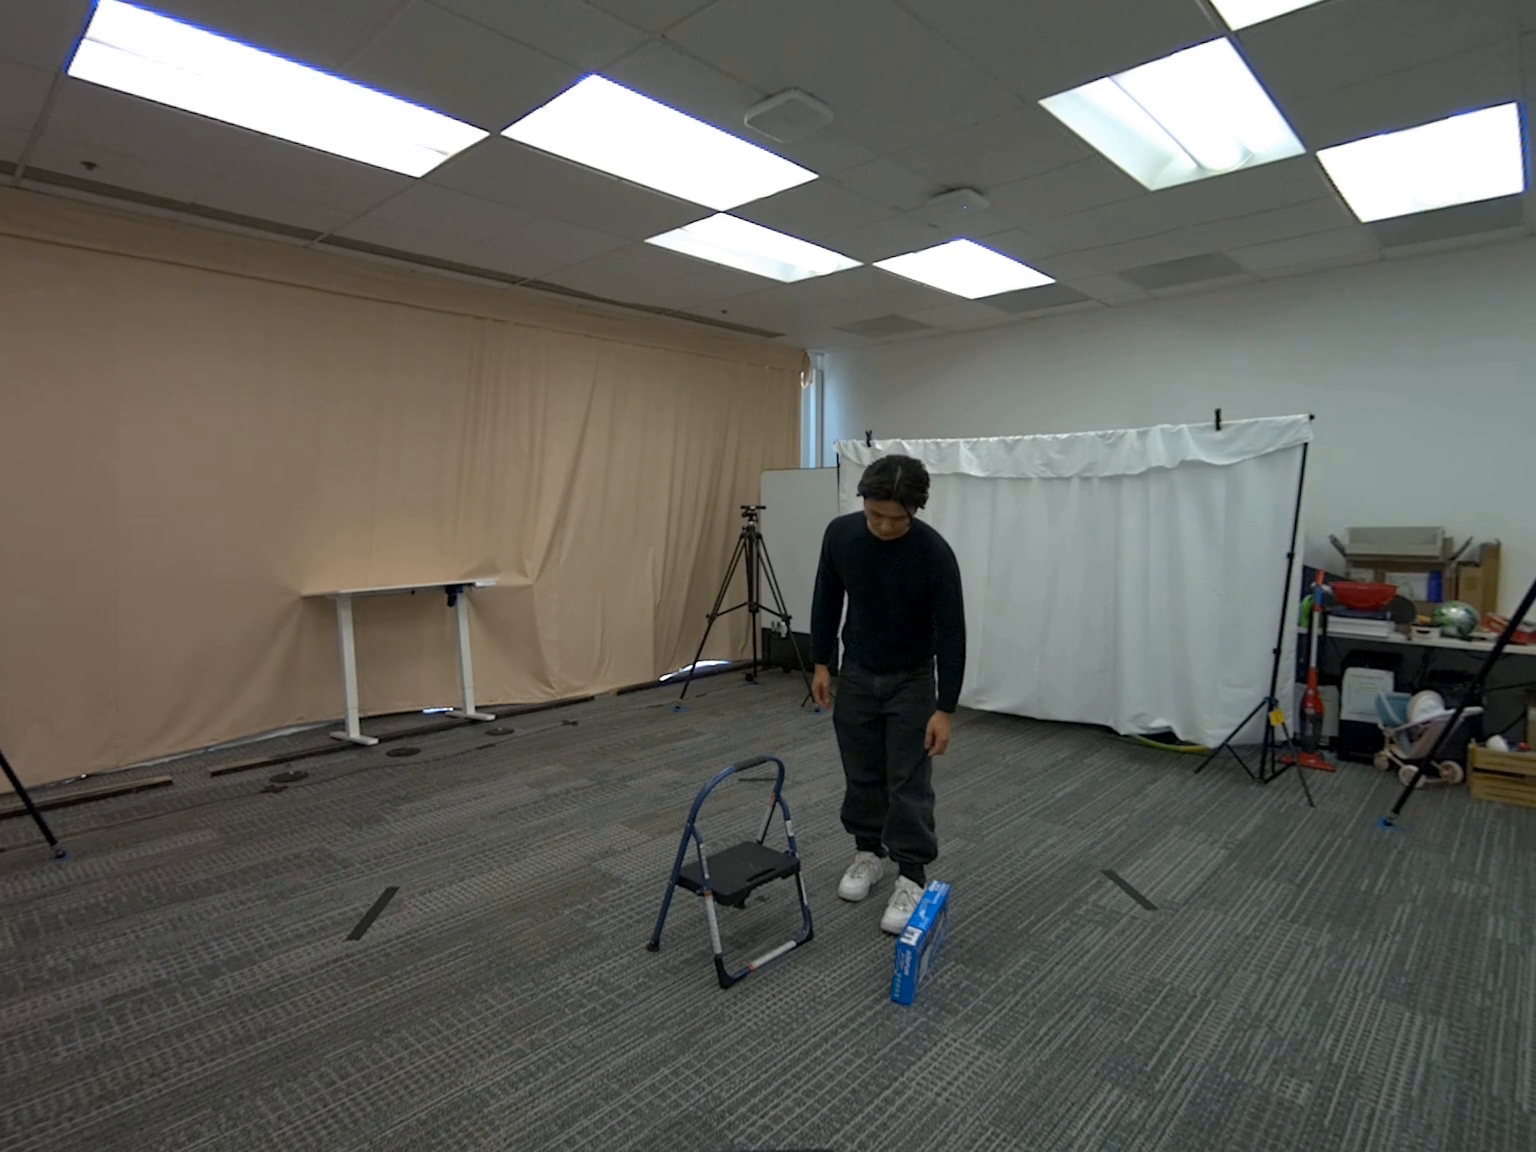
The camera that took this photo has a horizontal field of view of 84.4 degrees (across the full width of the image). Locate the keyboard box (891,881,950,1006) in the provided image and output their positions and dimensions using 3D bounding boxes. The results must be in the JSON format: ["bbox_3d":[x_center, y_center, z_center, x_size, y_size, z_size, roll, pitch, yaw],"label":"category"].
[{"bbox_3d":[0.466,1.090,2.534,0.061,0.175,0.427,9,8,24],"label":"keyboard box"}]
